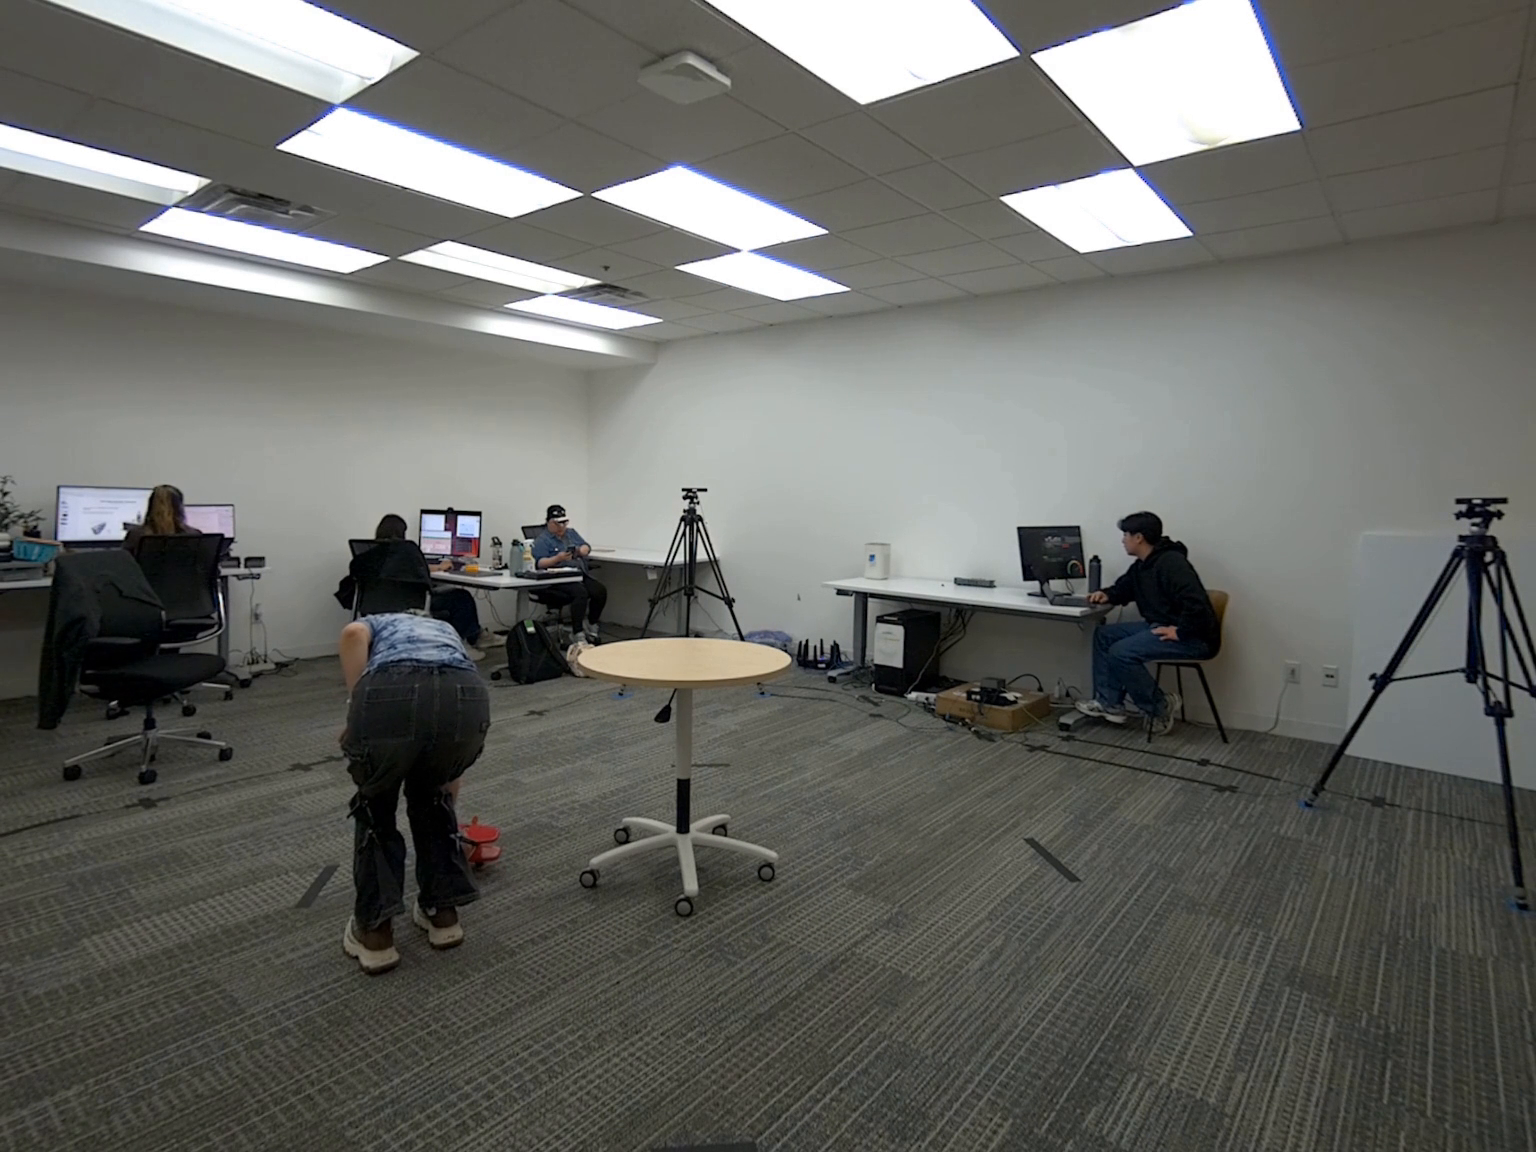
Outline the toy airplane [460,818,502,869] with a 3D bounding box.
[{"bbox_3d":[-1.096,0.994,3.033,0.245,0.156,0.266,-1,3,-27],"label":"toy airplane"}]
